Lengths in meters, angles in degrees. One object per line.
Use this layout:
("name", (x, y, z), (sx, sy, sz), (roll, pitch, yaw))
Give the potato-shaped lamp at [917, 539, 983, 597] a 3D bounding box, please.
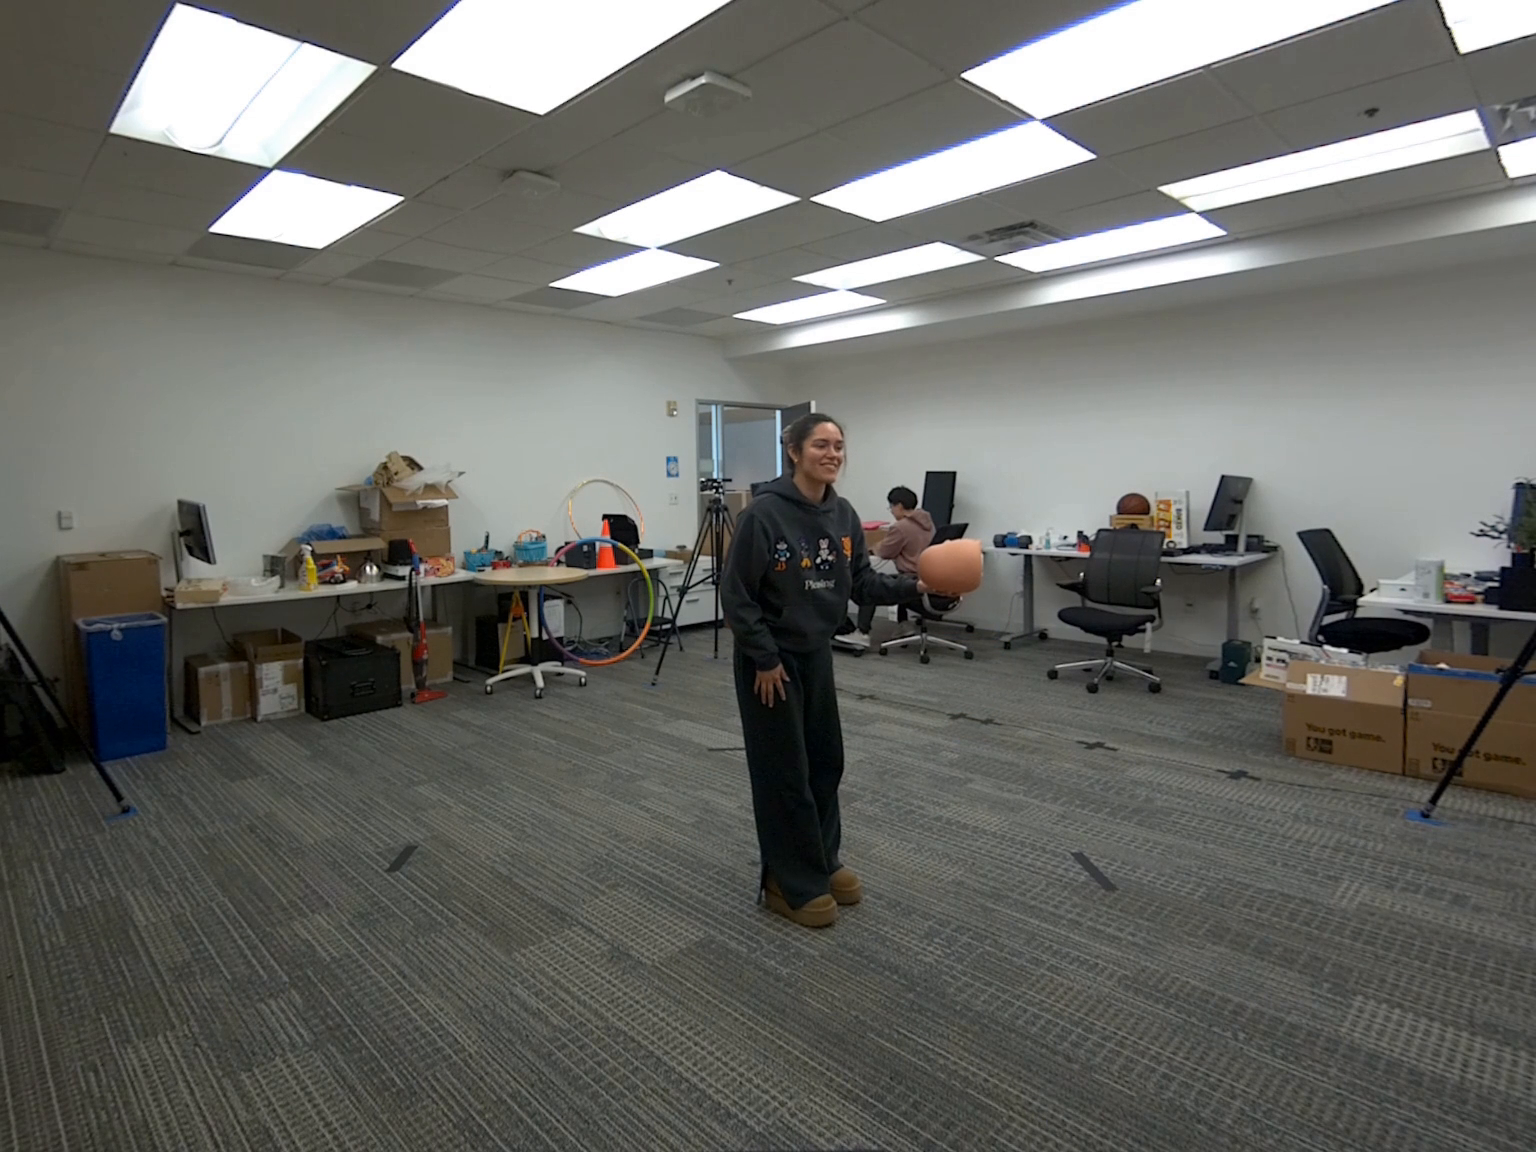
("potato-shaped lamp", (0.565, -0.030, 2.662), (0.201, 0.160, 0.174), (2, 38, 16))
